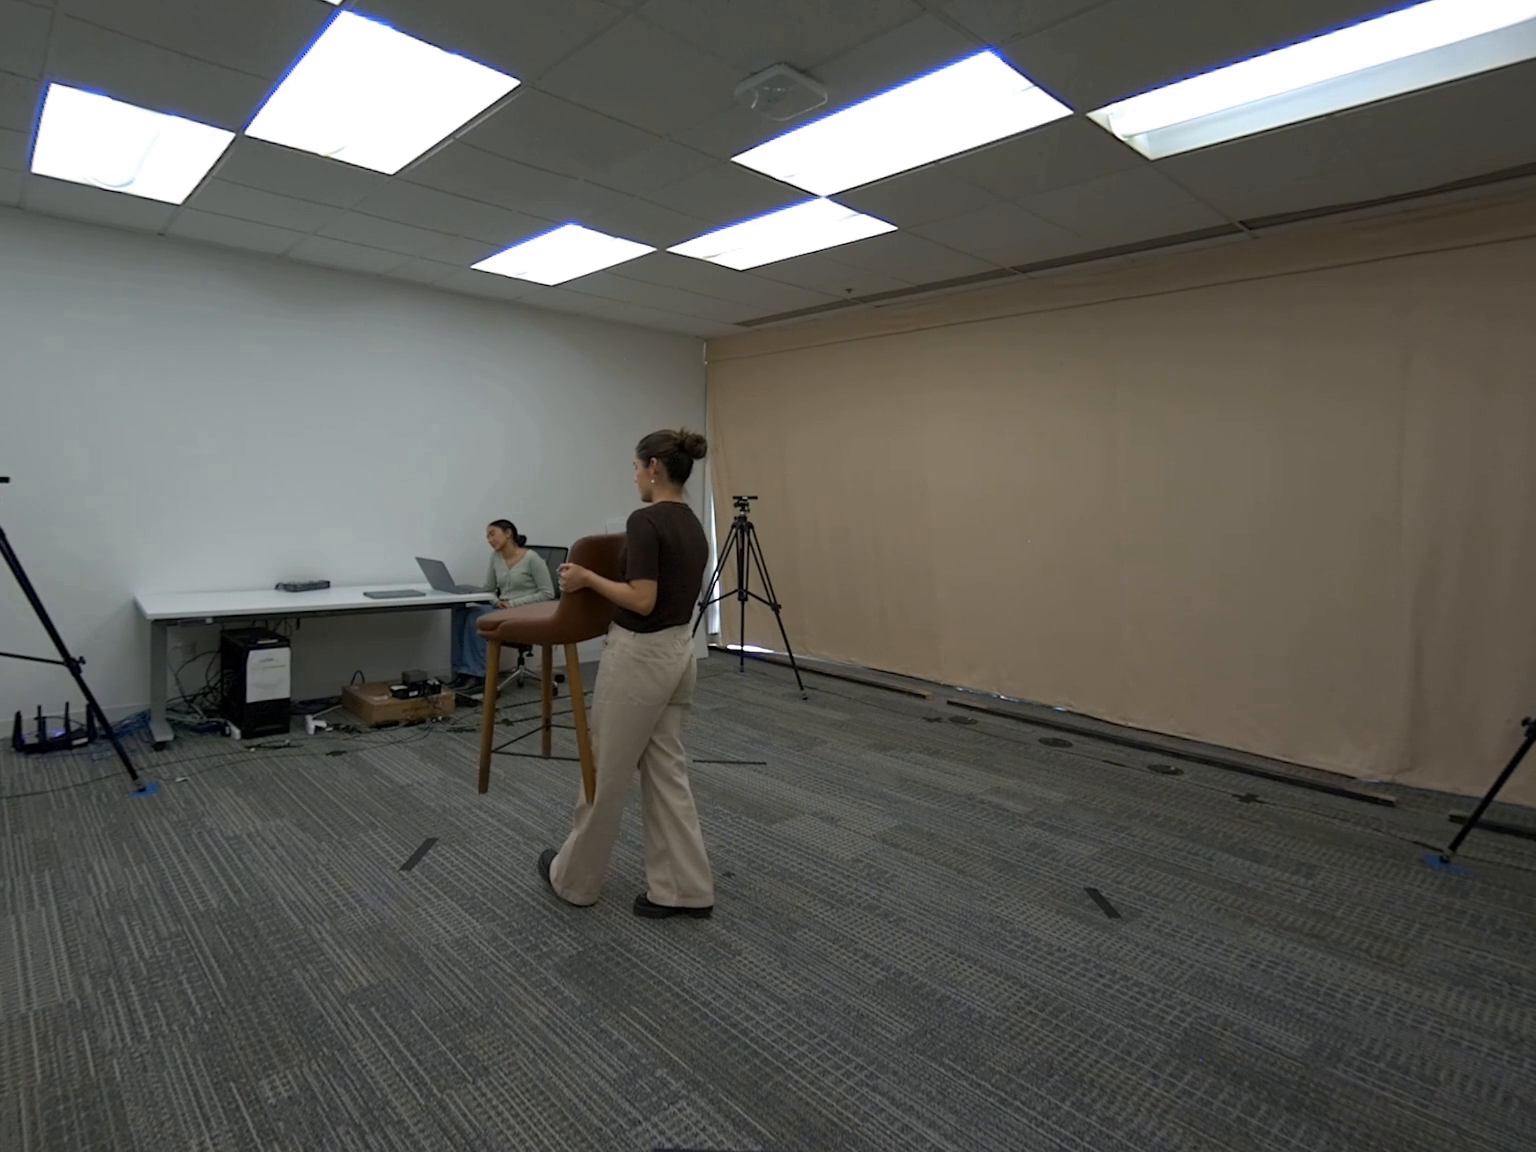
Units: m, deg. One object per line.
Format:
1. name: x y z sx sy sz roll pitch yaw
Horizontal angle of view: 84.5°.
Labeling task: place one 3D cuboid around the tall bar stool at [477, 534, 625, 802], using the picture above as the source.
1. tall bar stool: -0.727 0.297 2.942 0.476 0.887 0.450 1 5 22
